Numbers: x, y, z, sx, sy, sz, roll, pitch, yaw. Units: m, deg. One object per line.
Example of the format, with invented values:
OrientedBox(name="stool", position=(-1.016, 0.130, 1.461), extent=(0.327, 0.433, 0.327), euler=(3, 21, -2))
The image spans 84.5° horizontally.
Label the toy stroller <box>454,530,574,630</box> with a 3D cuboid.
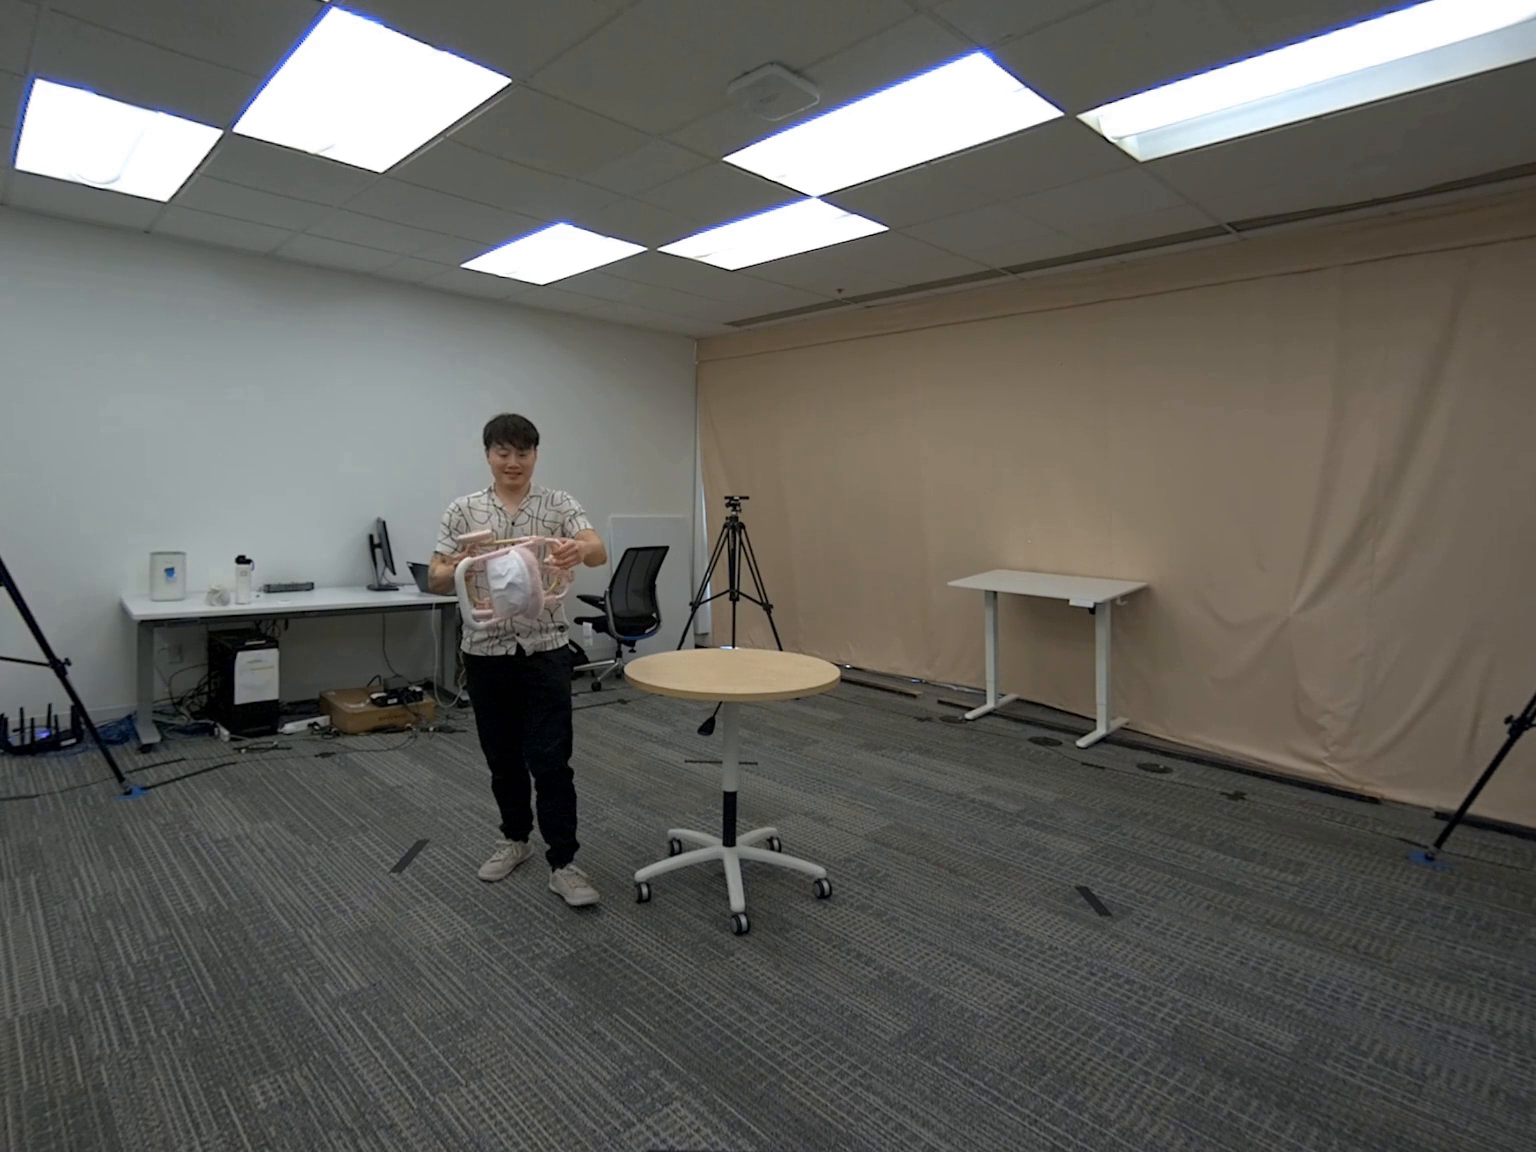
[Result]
OrientedBox(name="toy stroller", position=(-0.763, 0.005, 2.579), extent=(0.337, 0.280, 0.544), euler=(-5, 8, -17))
